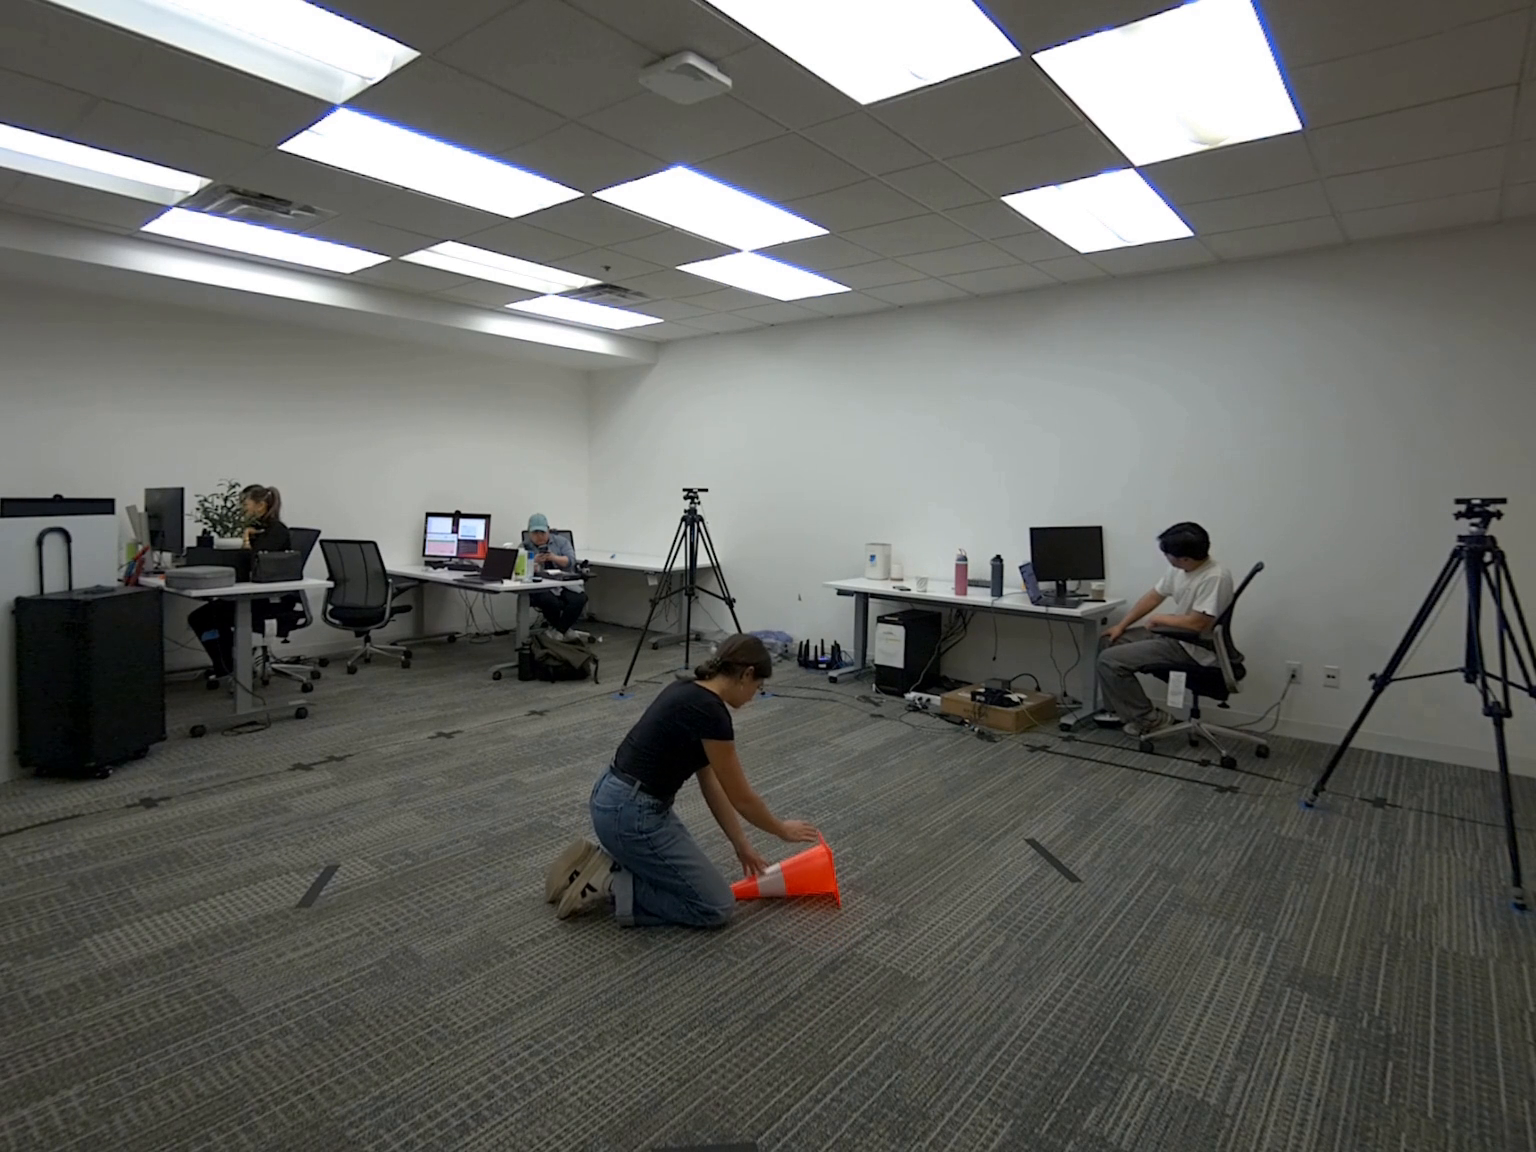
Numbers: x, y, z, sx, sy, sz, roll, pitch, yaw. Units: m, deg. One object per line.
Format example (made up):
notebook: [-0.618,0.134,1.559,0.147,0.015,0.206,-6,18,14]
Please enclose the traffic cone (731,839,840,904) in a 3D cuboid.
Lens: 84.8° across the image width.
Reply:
traffic cone: [0.031,1.046,2.894,0.382,0.205,0.204,-11,1,-4]
